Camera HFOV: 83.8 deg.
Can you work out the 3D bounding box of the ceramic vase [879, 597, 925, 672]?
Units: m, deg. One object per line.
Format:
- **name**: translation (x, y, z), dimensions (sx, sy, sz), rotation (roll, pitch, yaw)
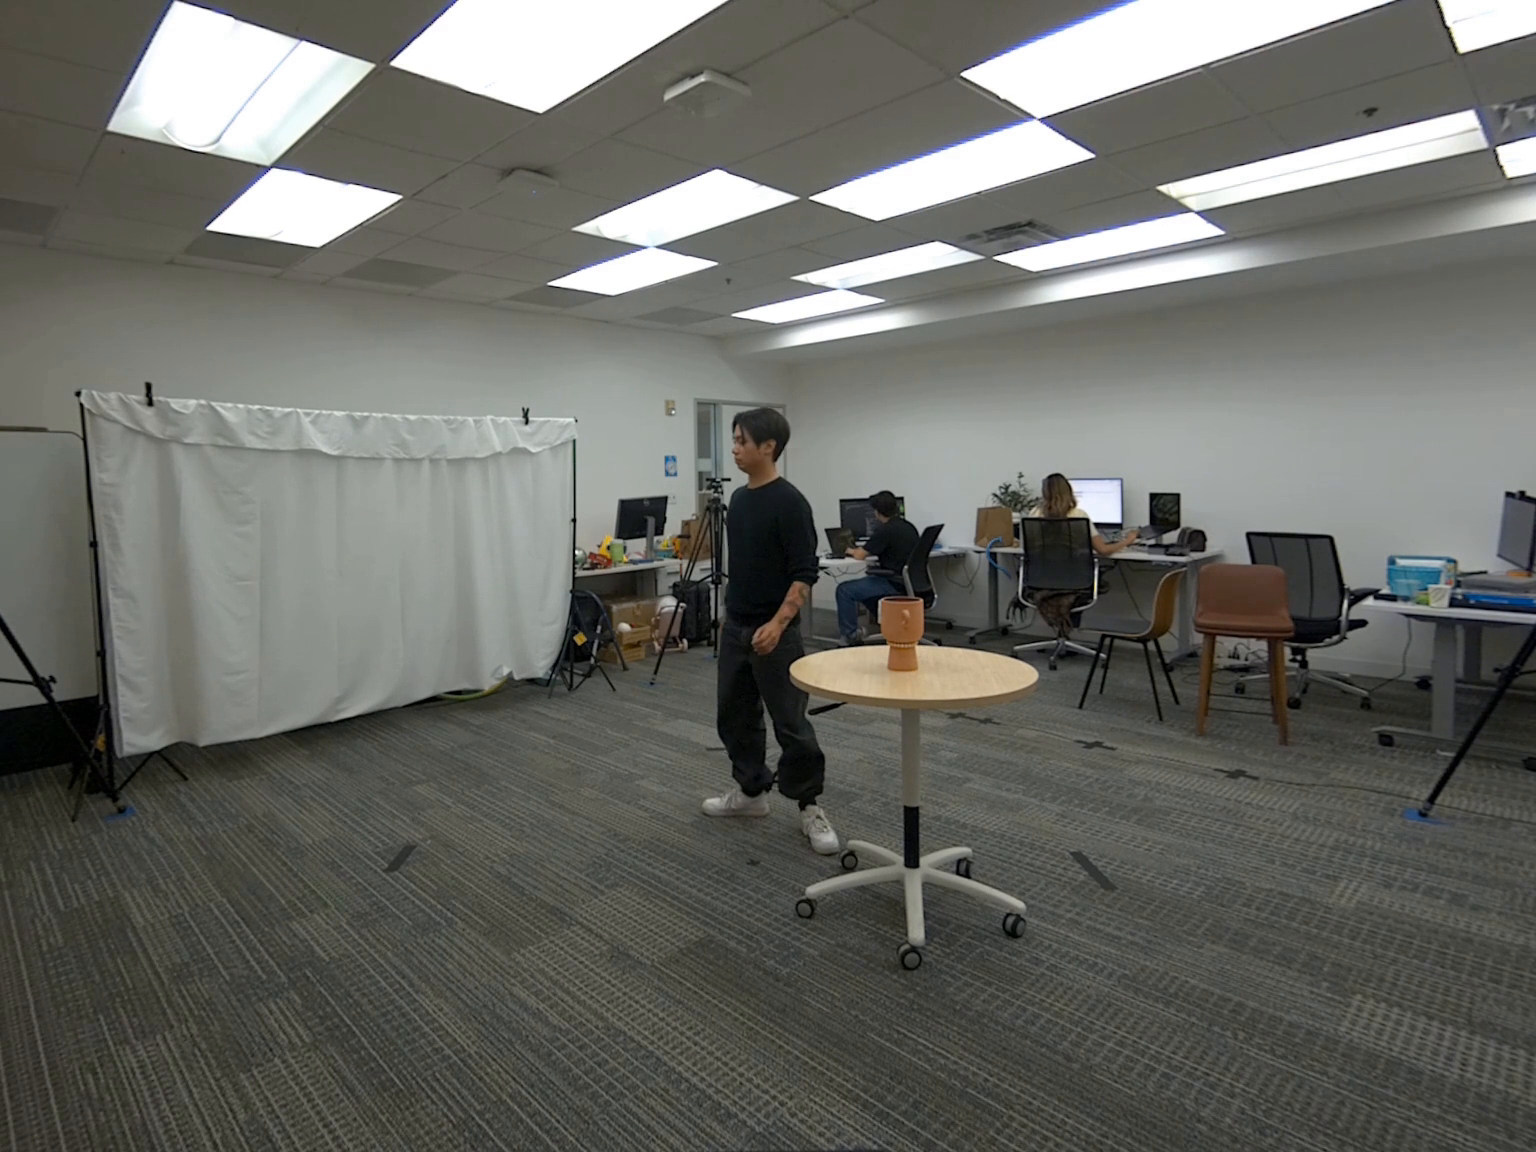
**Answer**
- **ceramic vase**: translation (0.434, 0.186, 2.715), dimensions (0.138, 0.219, 0.155), rotation (1, 5, 39)
